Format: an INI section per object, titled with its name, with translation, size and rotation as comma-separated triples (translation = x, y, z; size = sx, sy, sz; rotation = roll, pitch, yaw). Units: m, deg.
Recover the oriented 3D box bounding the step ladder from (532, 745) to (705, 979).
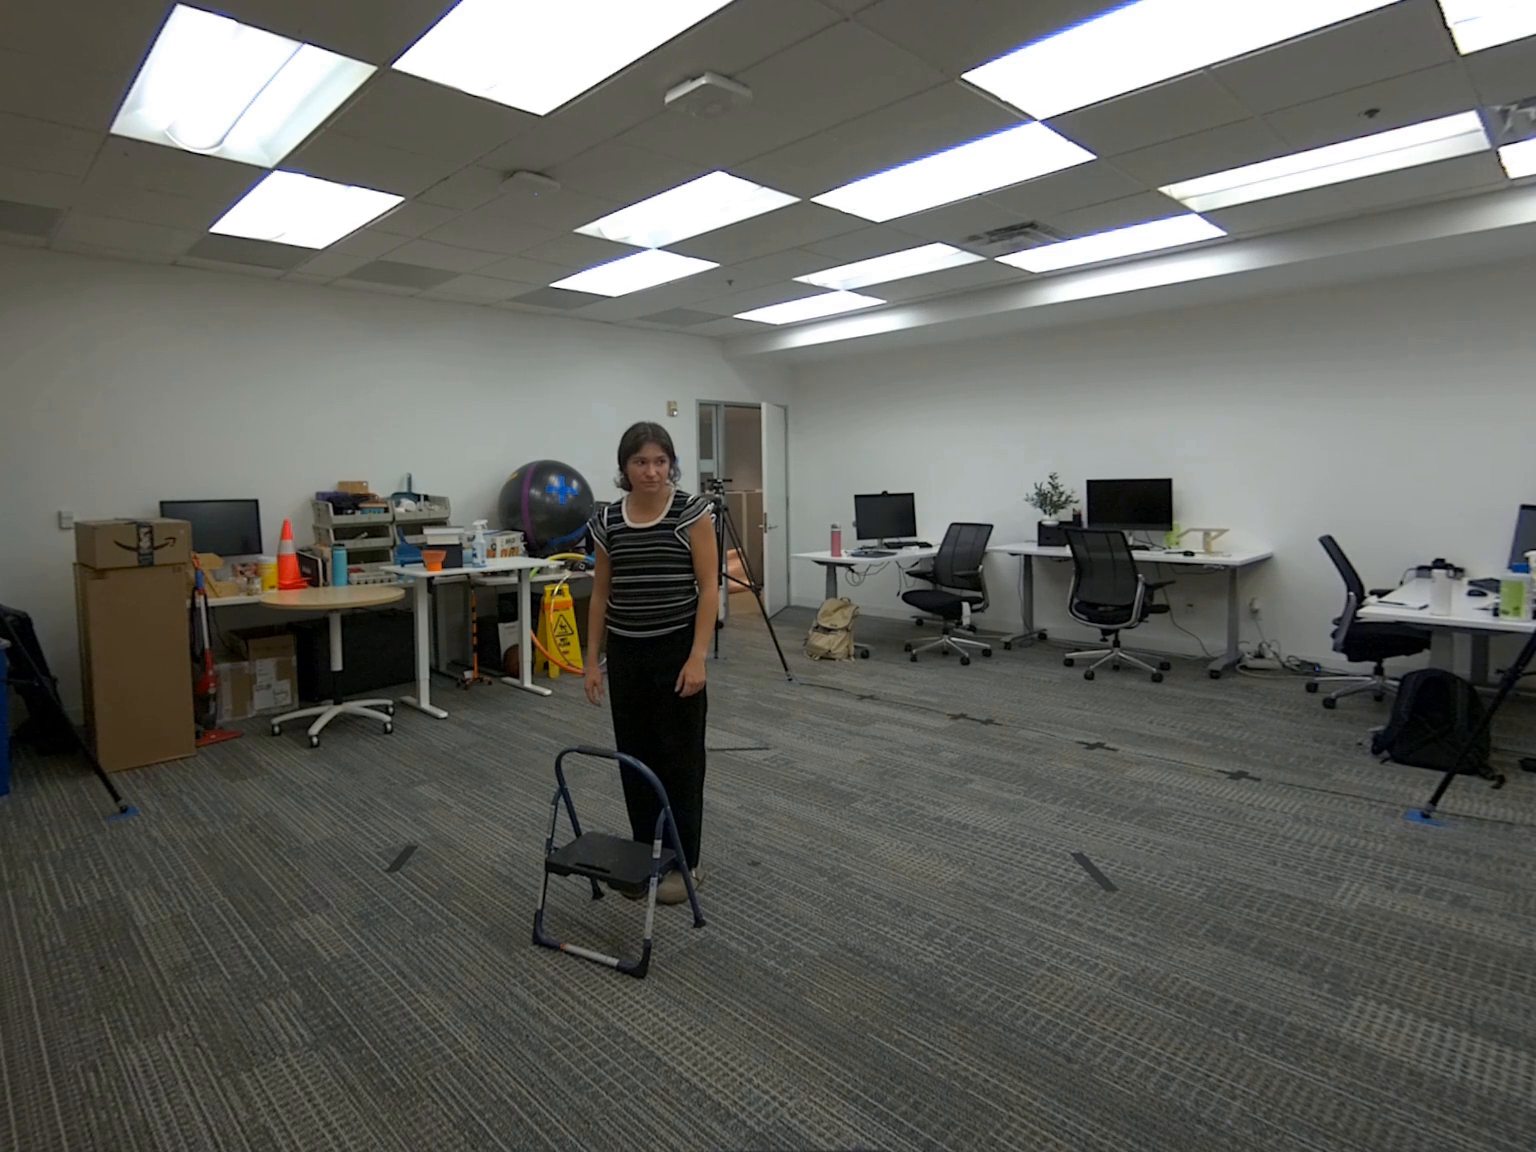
[step ladder]
translation = -0.467, 0.810, 2.624
size = 0.441, 0.603, 0.342
rotation = 1, 5, 27
